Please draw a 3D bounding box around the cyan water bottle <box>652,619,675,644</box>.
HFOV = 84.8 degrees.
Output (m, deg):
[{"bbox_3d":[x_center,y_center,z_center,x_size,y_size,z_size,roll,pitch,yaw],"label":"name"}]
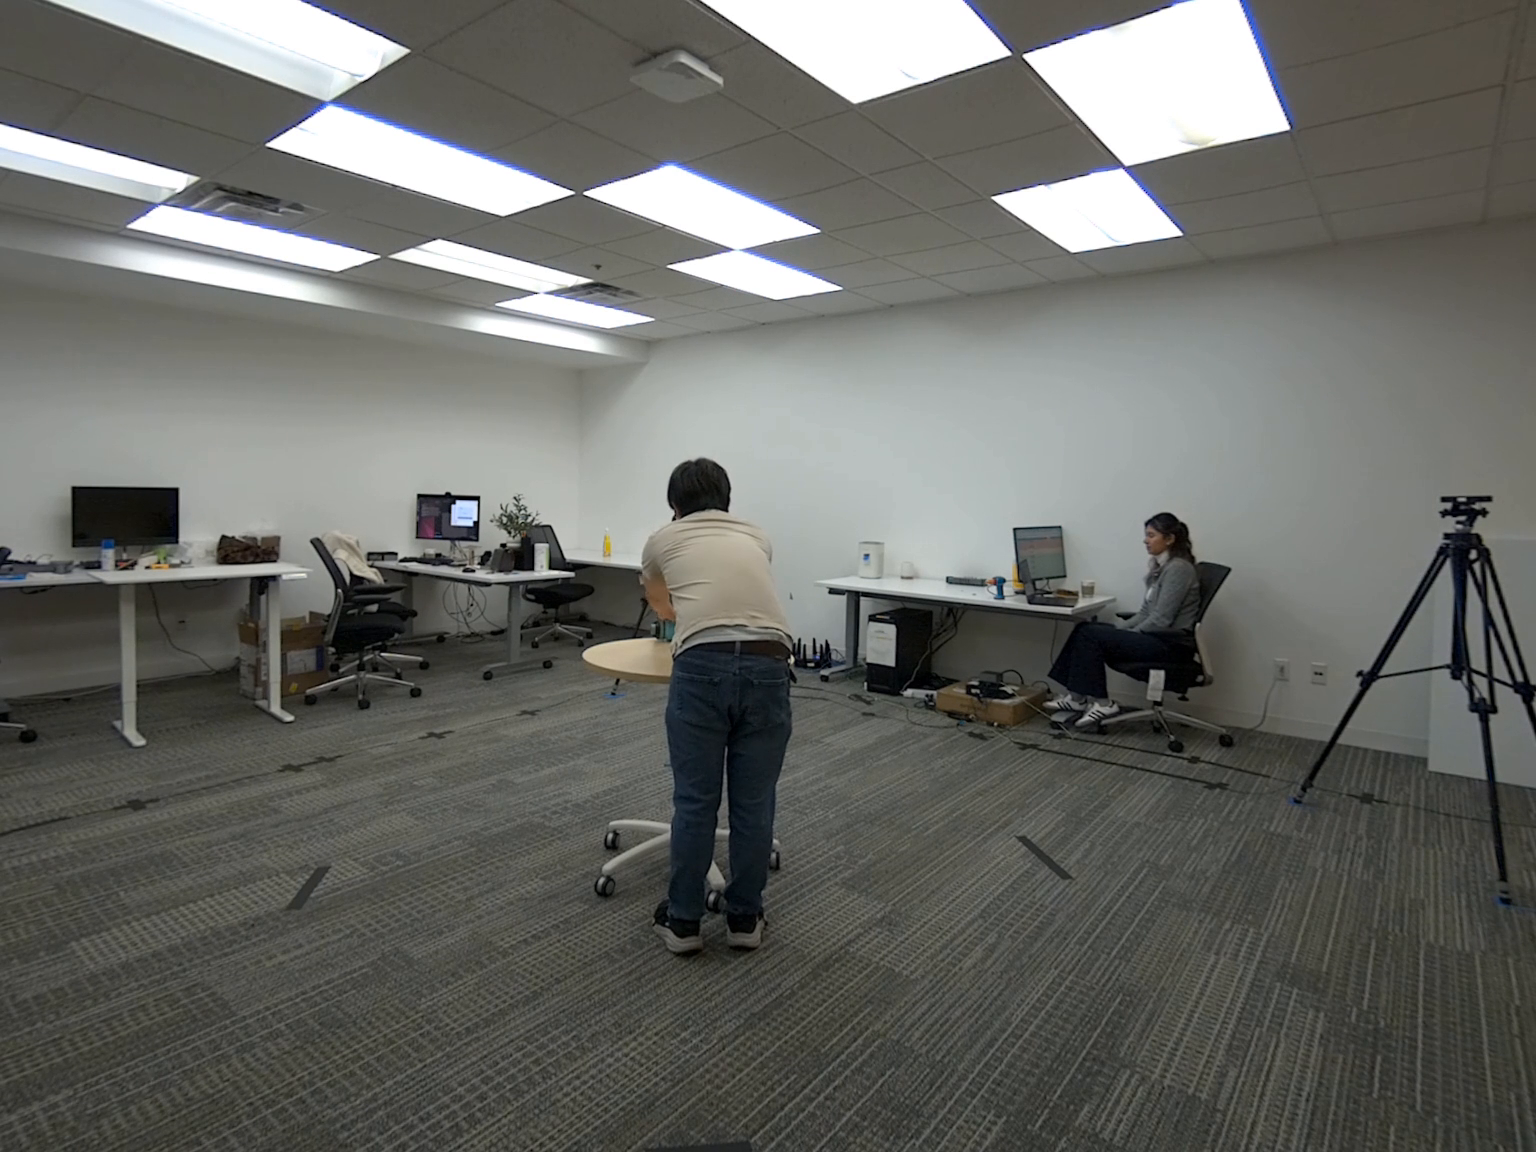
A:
[{"bbox_3d":[-0.340,0.215,3.401,0.281,0.092,0.093,1,4,-8],"label":"cyan water bottle"}]
